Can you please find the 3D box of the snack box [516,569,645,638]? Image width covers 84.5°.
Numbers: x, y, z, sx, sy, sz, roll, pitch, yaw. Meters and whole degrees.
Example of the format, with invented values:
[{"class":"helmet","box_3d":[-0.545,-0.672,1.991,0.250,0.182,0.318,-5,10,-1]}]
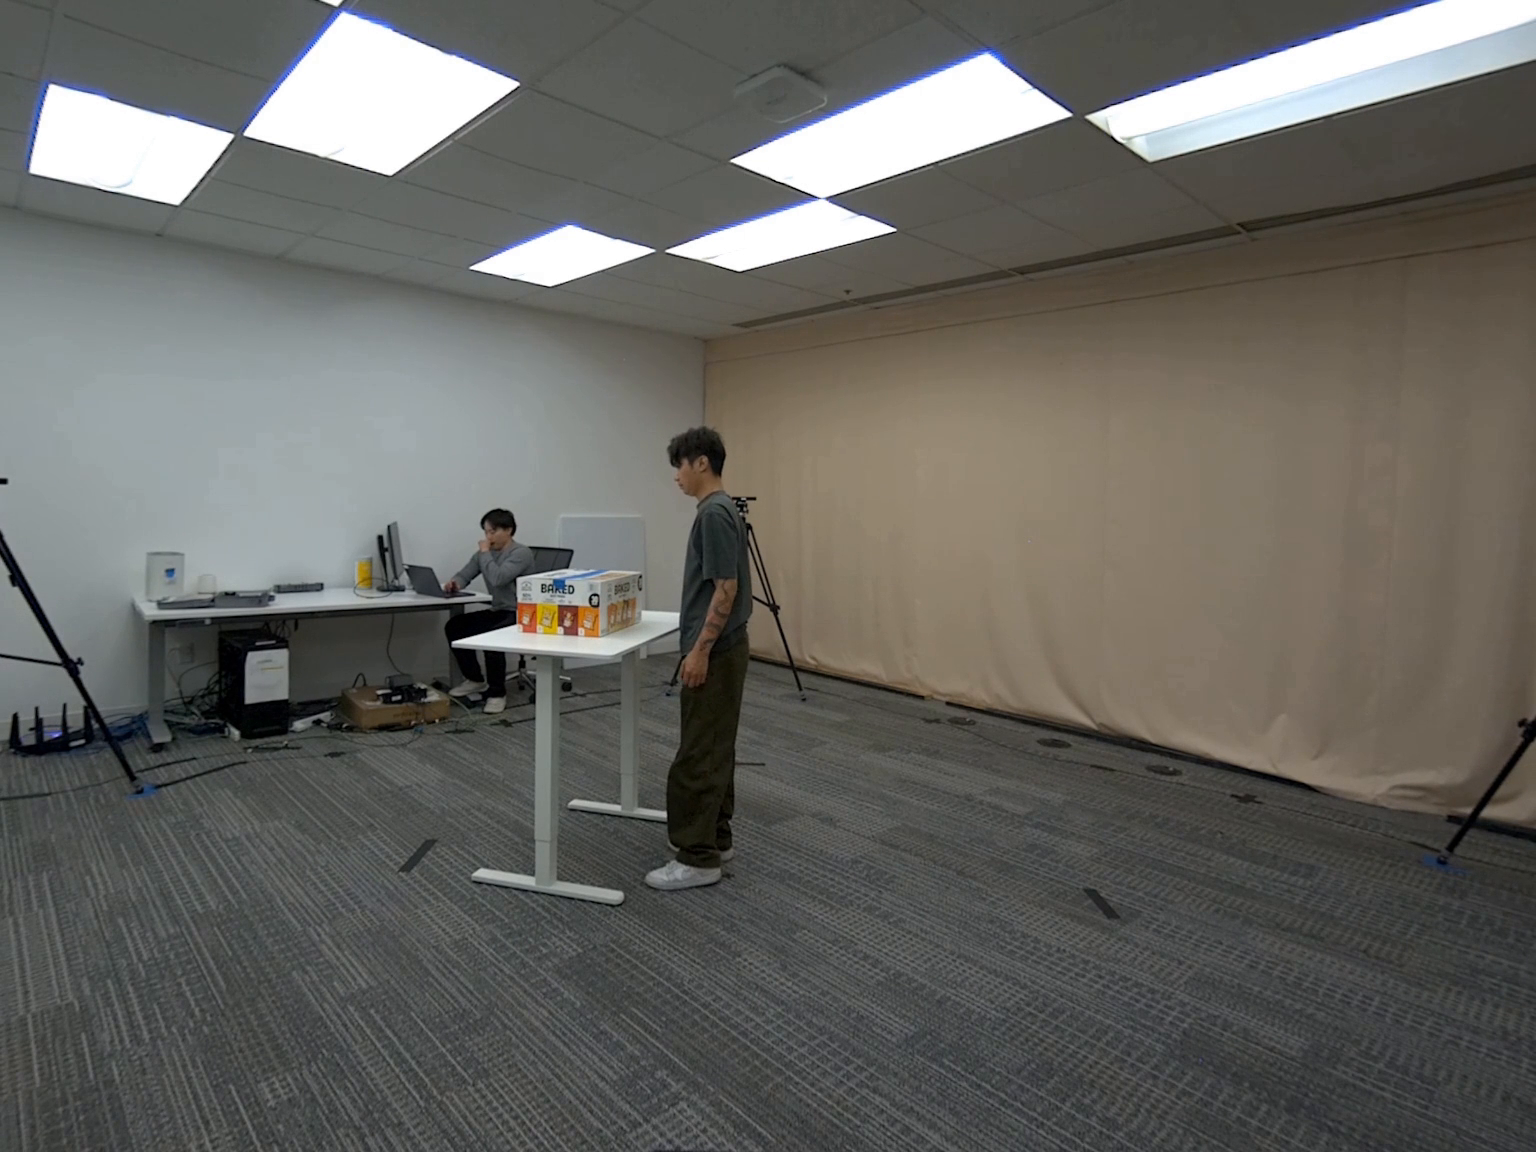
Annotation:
[{"class":"snack box","box_3d":[-0.722,0.096,3.259,0.344,0.205,0.401,3,5,14]}]
